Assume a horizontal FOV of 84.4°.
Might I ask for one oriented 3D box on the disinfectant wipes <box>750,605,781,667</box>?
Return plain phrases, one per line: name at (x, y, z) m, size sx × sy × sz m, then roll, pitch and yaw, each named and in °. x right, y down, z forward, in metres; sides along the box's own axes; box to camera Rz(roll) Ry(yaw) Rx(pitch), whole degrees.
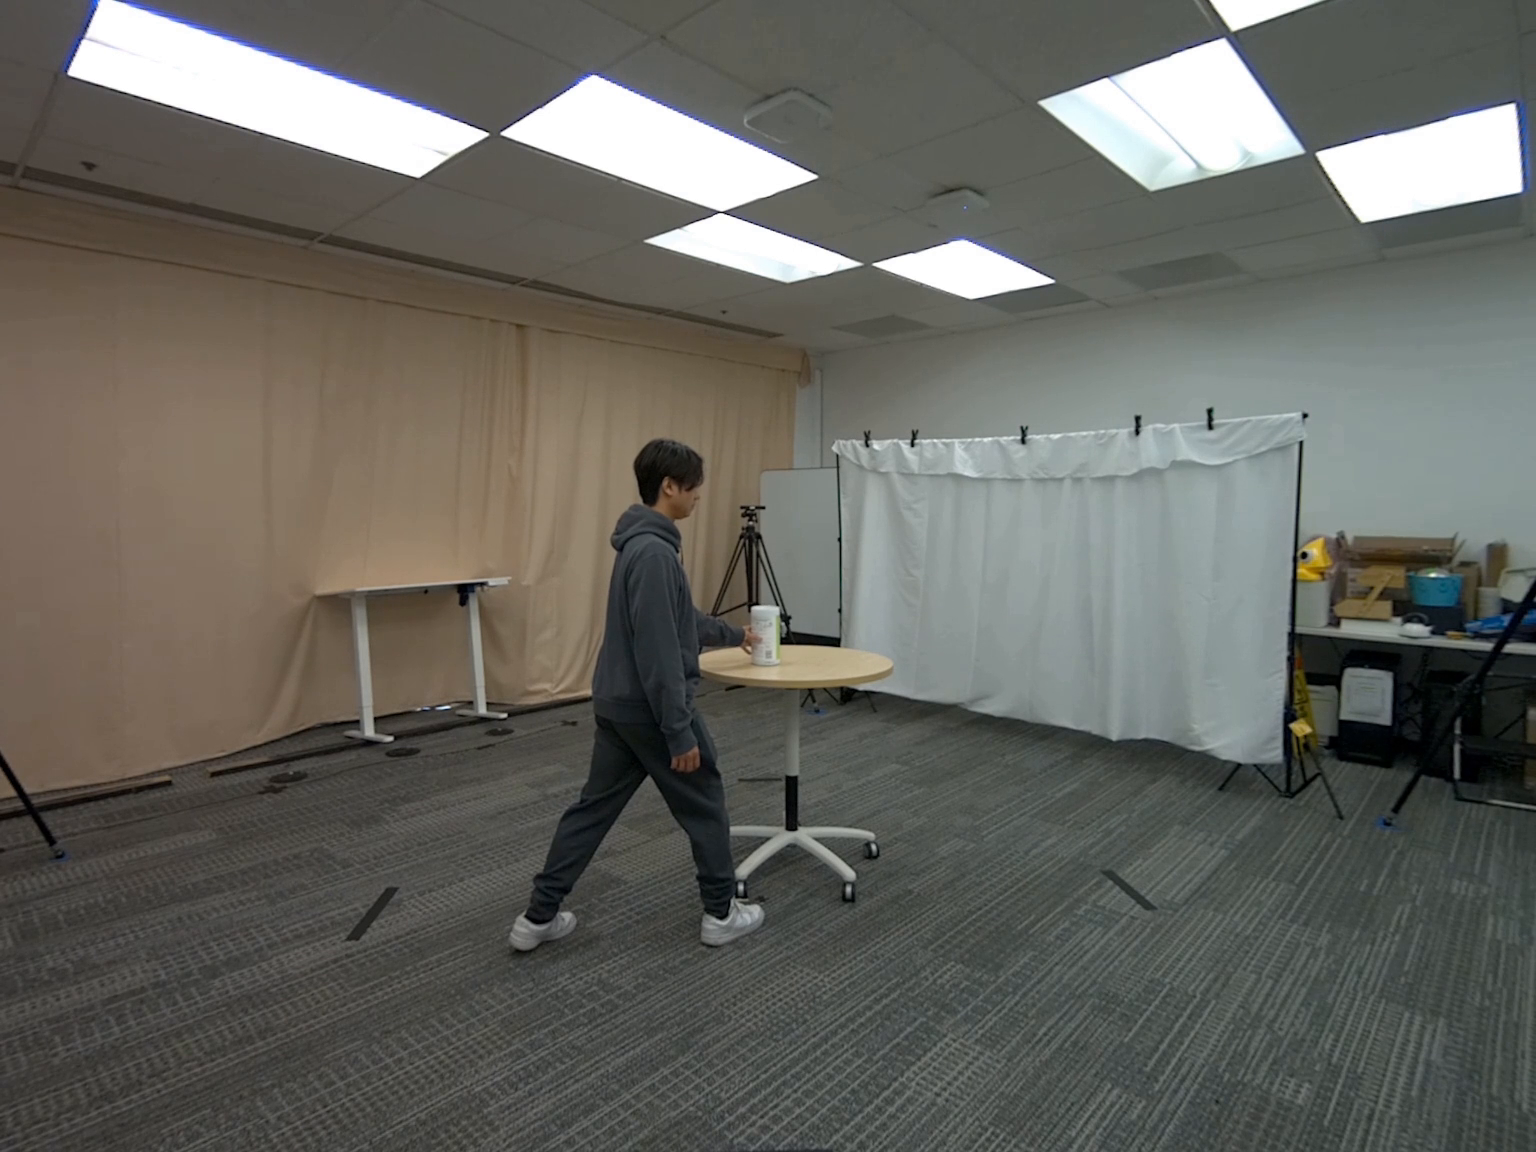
disinfectant wipes at (-0.007, 0.224, 3.169) m, size 0.118 × 0.217 × 0.118 m, roll 0°, pitch 2°, yaw -2°
